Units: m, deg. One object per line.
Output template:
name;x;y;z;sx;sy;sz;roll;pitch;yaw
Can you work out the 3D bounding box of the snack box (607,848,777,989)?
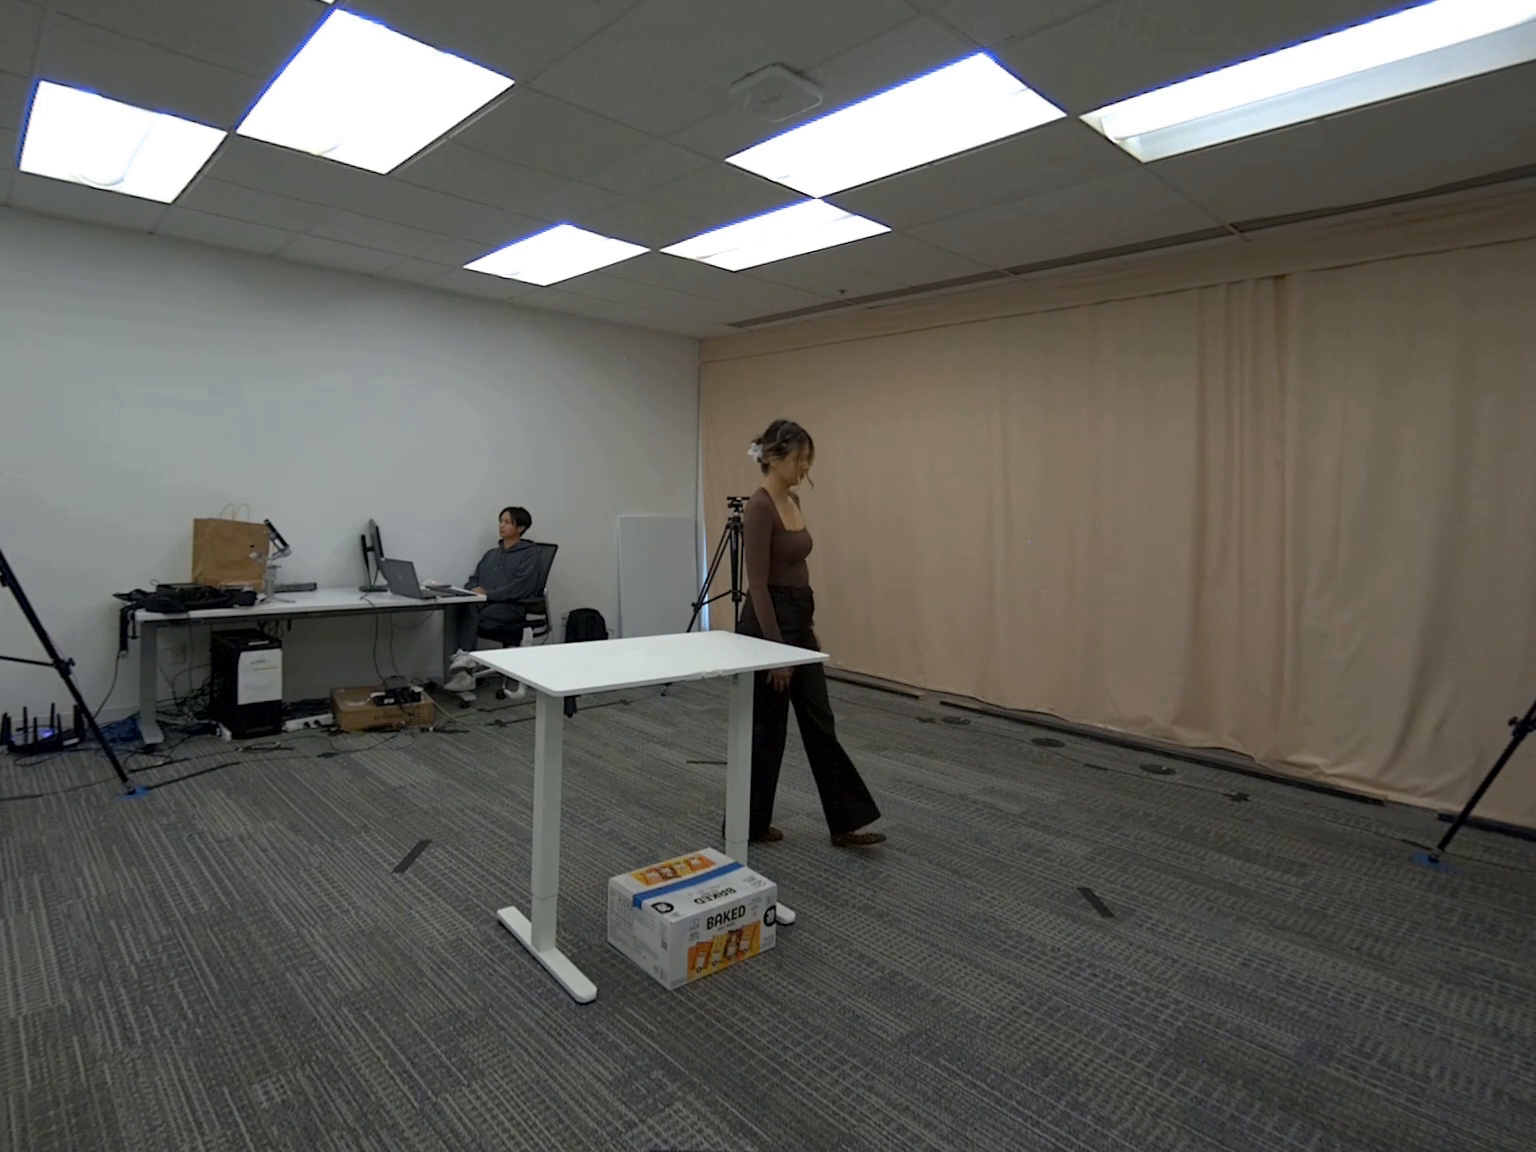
snack box;-0.240;1.050;2.604;0.396;0.205;0.349;-3;6;-41
